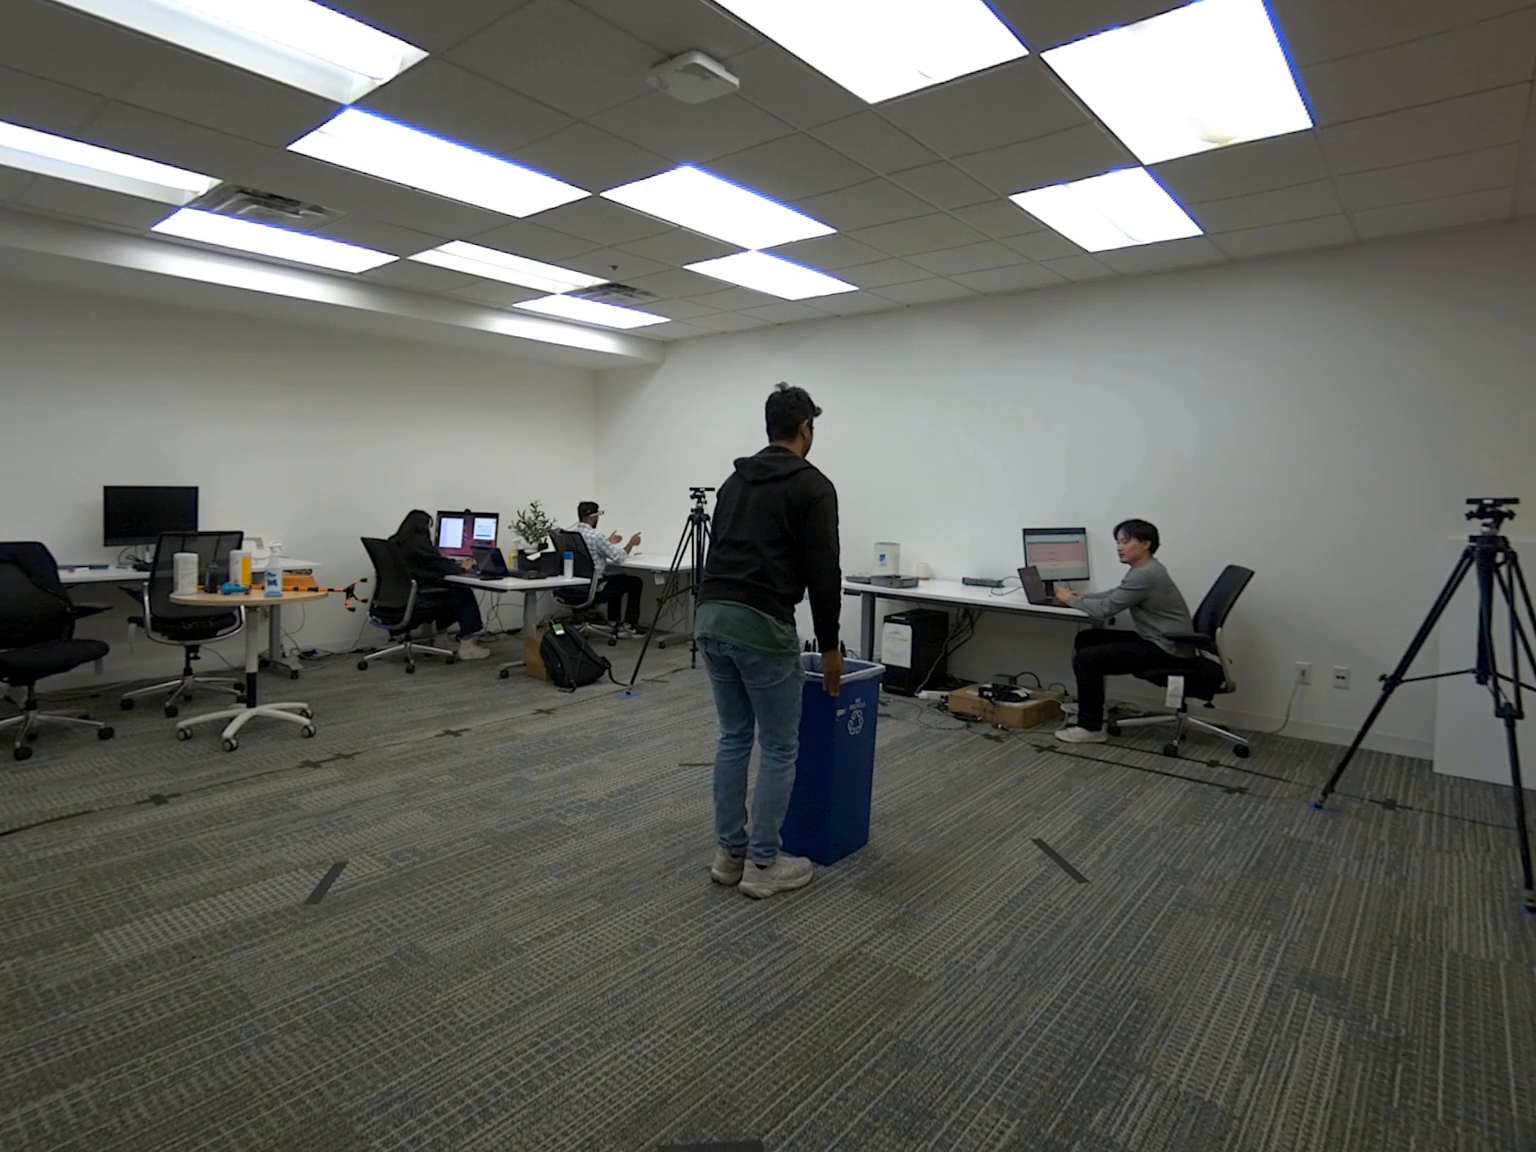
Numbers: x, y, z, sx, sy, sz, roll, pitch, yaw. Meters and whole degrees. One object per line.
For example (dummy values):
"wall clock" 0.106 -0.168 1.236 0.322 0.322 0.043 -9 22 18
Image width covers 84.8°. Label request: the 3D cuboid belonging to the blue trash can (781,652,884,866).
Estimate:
"blue trash can" 0.198 0.692 3.338 0.391 0.711 0.363 4 5 38
